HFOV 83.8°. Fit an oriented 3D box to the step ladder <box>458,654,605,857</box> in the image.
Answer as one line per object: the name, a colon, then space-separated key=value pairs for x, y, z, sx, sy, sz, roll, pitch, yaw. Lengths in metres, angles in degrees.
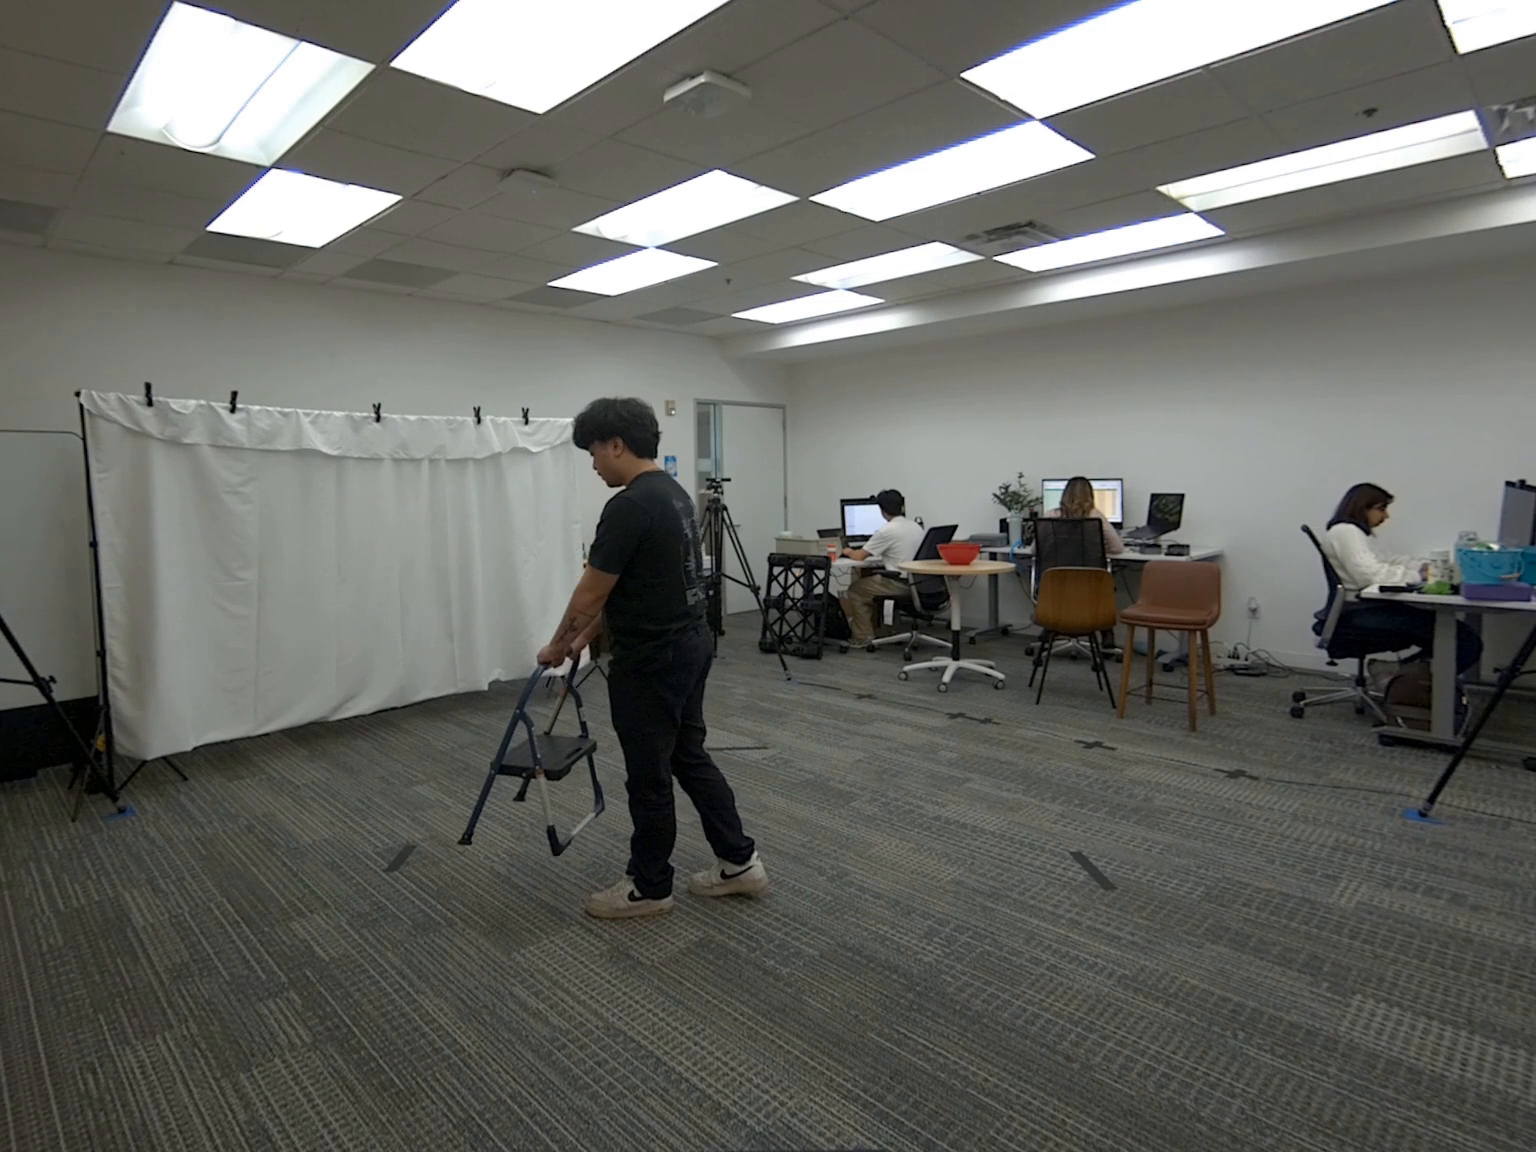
step ladder: x=-0.761 y=0.548 z=2.858 sx=0.353 sy=0.604 sz=0.427 roll=4 pitch=4 yaw=9
